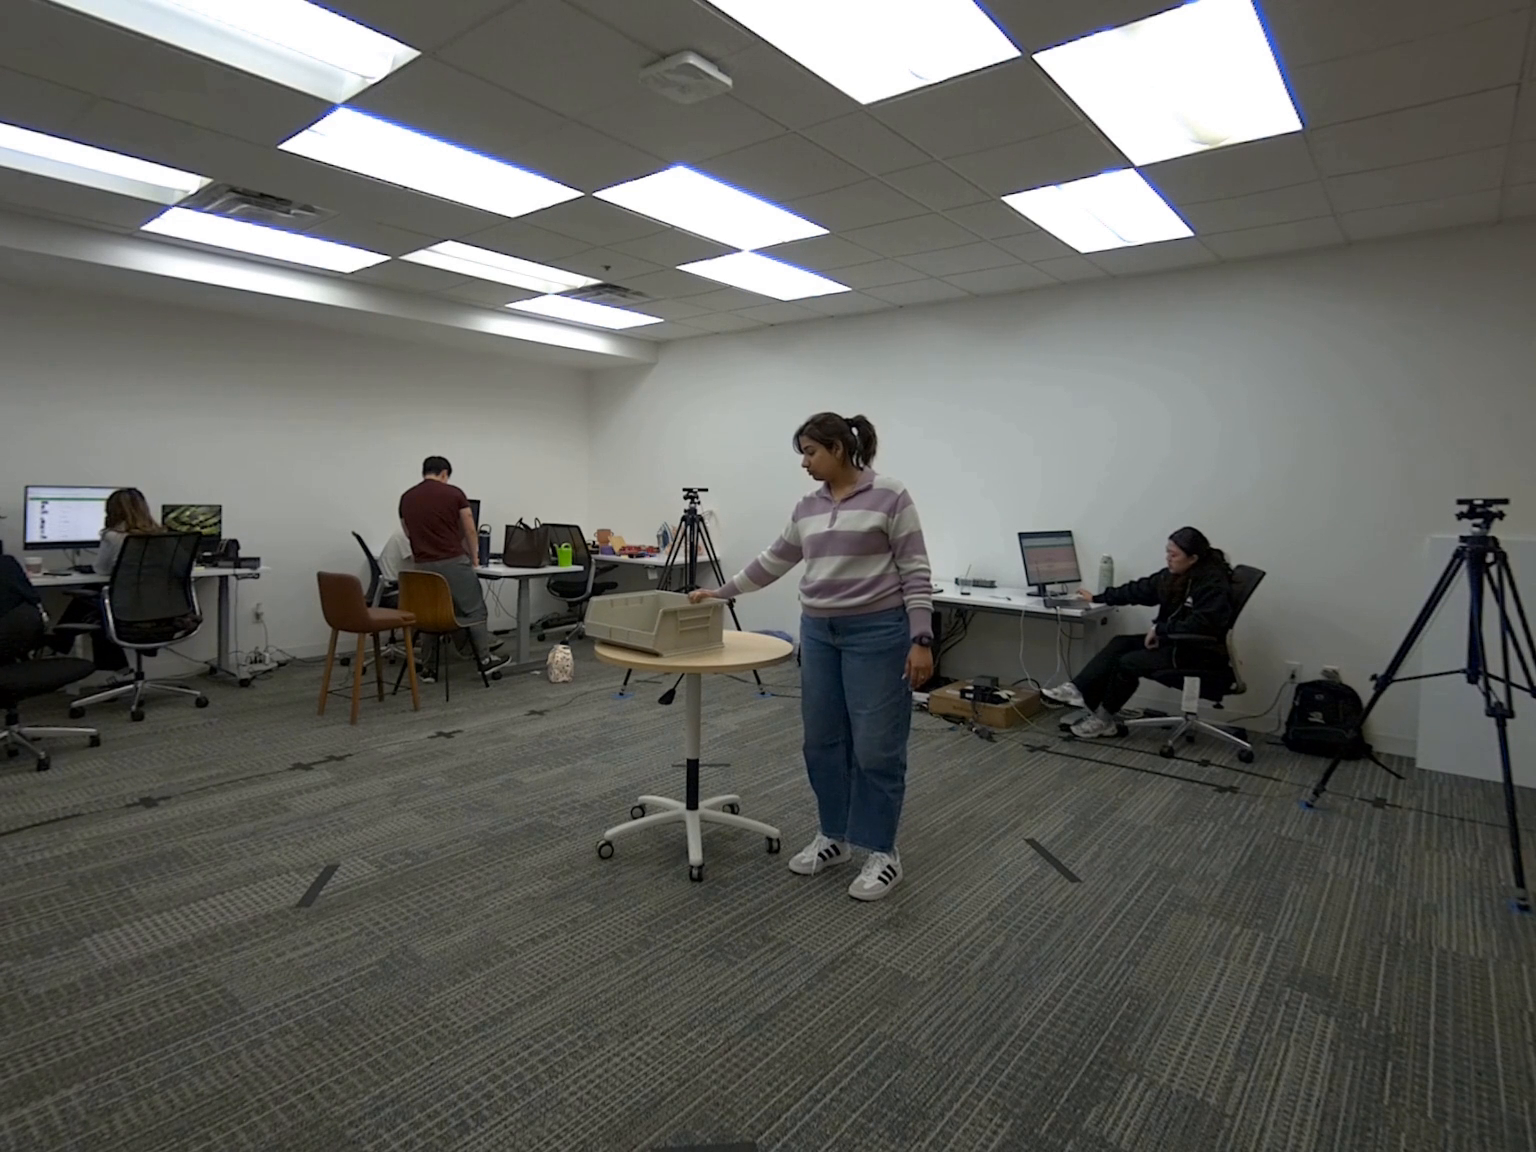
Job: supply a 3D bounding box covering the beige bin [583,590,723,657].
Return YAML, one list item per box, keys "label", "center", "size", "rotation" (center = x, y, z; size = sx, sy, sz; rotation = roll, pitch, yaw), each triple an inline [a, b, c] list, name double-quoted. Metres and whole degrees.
- label: "beige bin"
  center: [-0.448, 0.180, 3.286]
  size: [0.437, 0.188, 0.366]
  rotation: [5, 6, 43]
